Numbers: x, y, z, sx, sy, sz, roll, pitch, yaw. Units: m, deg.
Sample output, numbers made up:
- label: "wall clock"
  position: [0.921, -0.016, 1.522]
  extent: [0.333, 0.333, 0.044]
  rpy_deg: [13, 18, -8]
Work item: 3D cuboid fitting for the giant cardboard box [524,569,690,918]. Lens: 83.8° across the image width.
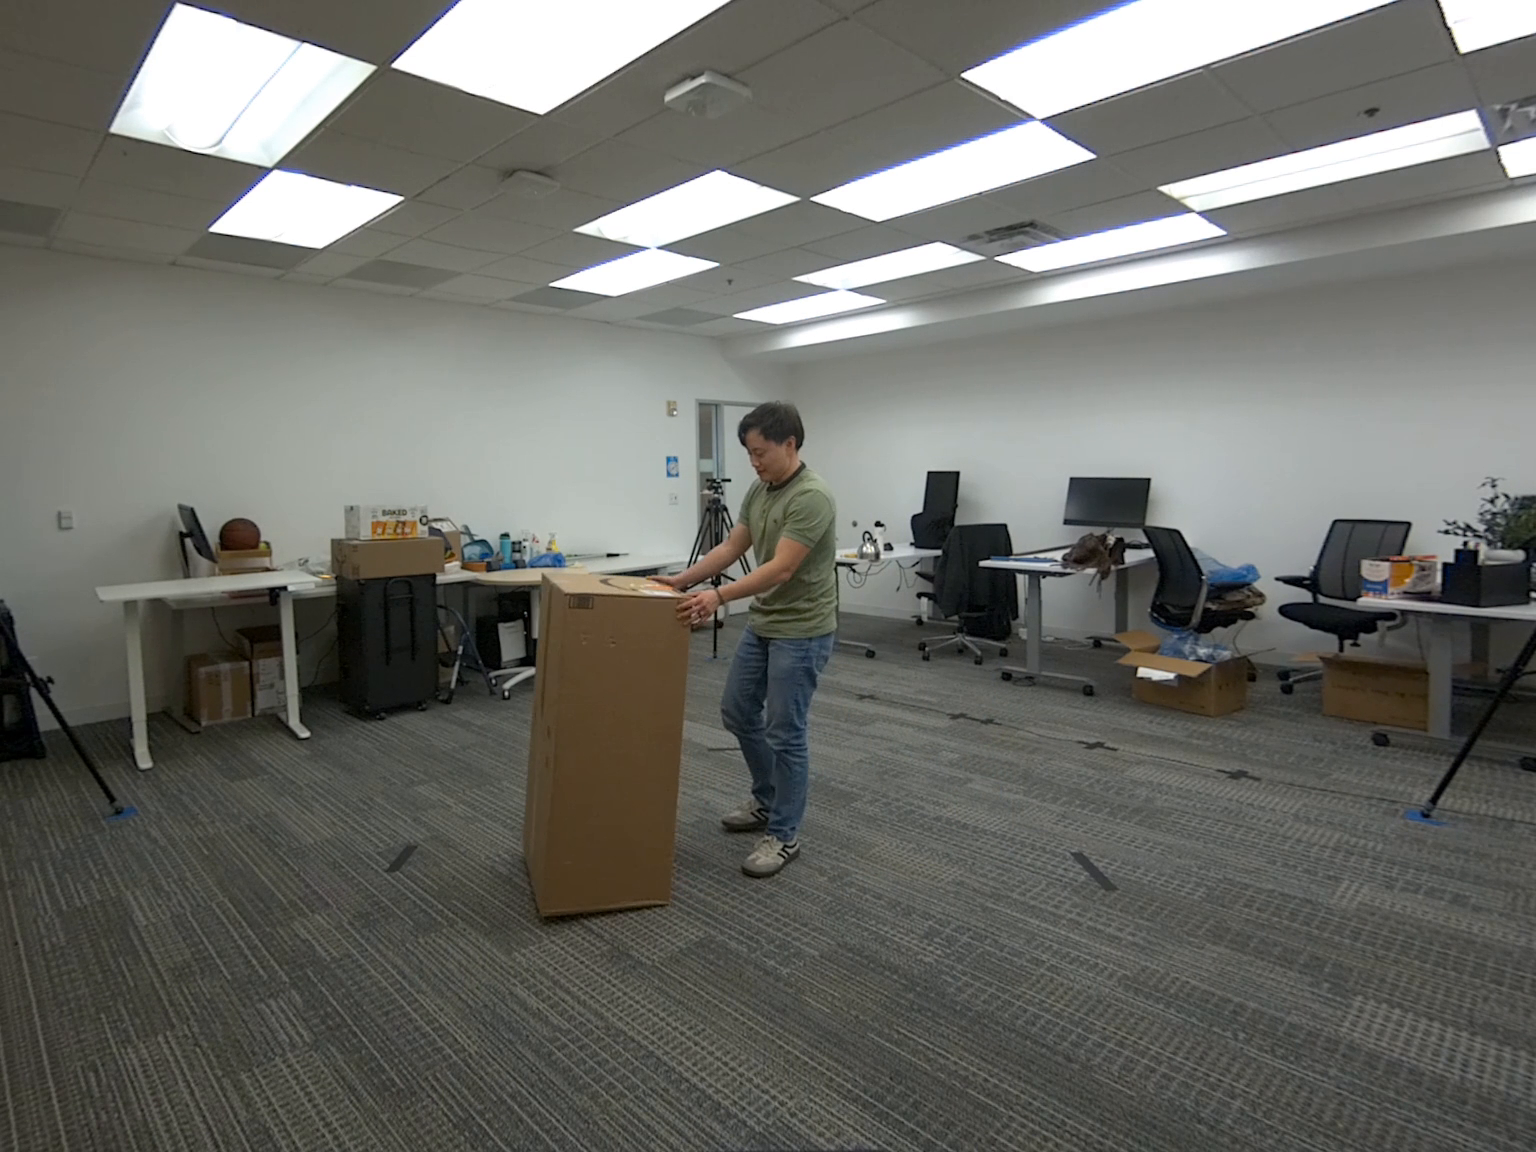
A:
- label: "giant cardboard box"
  position: [-0.576, 0.537, 2.994]
  extent: [0.417, 1.024, 0.591]
  rpy_deg: [4, 3, -22]
